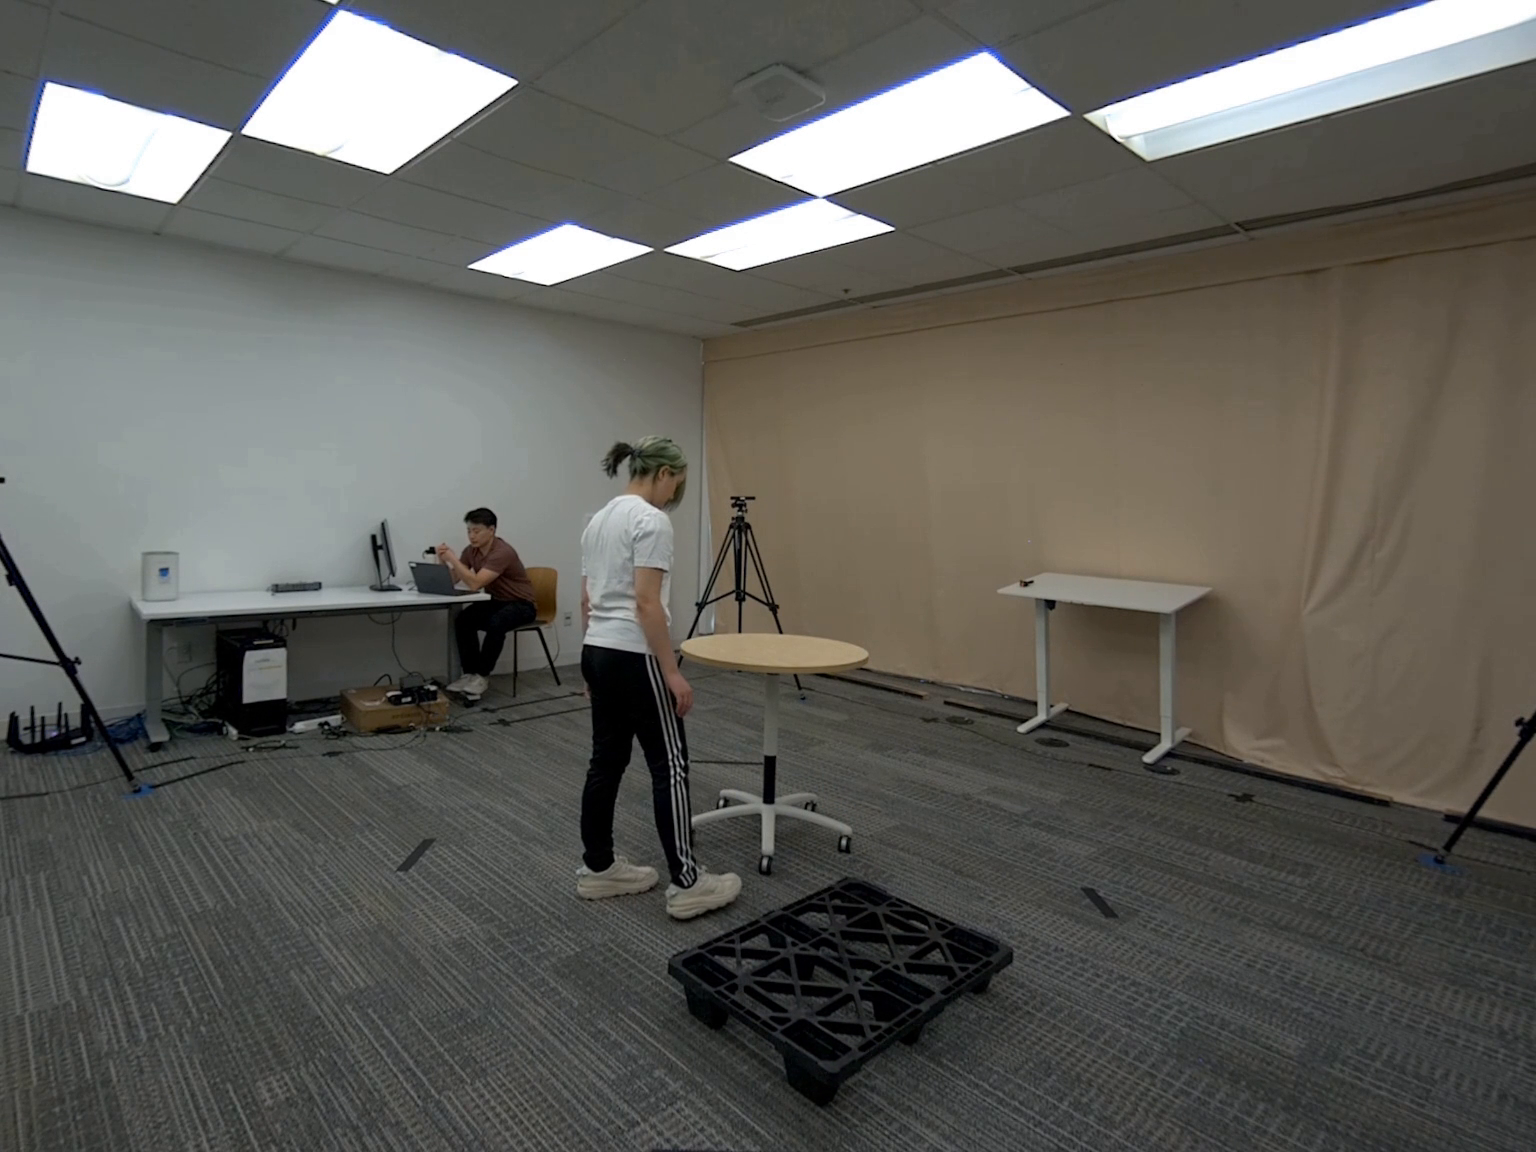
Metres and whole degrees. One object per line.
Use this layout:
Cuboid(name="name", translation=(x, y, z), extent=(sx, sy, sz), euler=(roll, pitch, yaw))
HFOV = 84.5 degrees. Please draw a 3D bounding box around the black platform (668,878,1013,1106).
Cuboid(name="black platform", translation=(0.207, 1.117, 2.343), extent=(0.787, 0.143, 0.621), euler=(-4, 8, -44))
